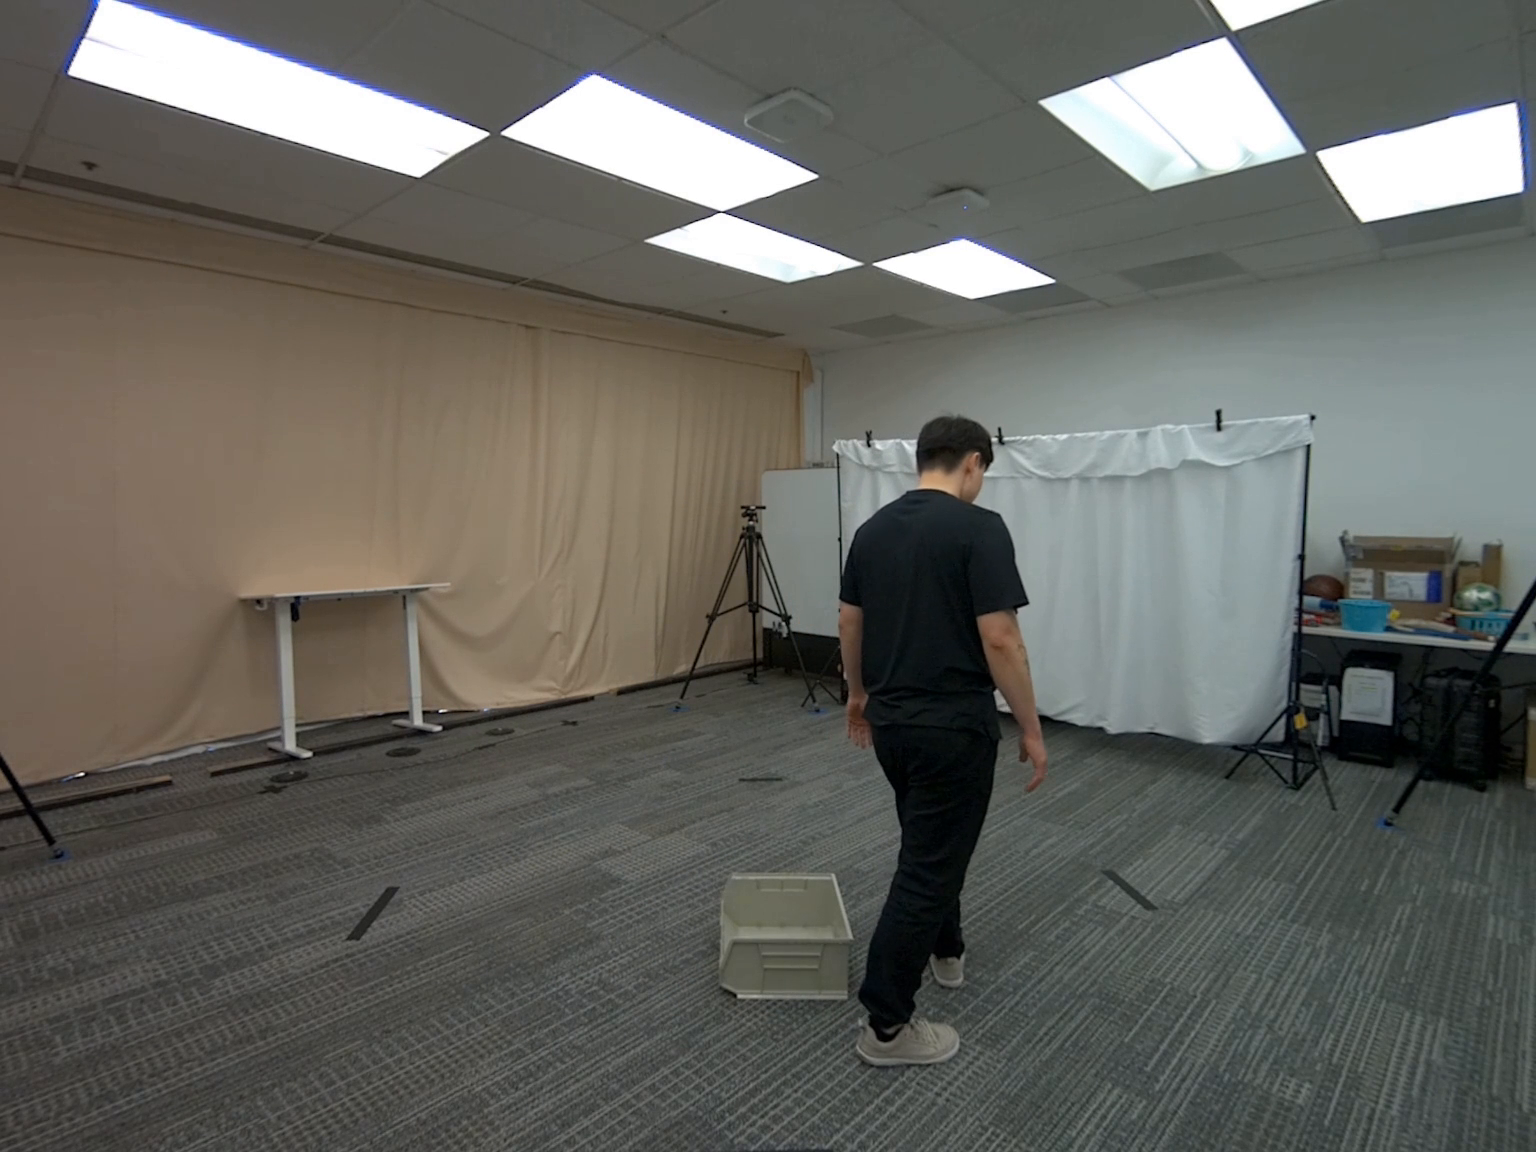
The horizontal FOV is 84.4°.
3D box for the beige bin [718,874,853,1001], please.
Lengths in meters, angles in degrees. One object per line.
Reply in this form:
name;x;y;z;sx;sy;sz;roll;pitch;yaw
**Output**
beige bin;0.040;1.108;2.568;0.377;0.188;0.423;4;4;-2
